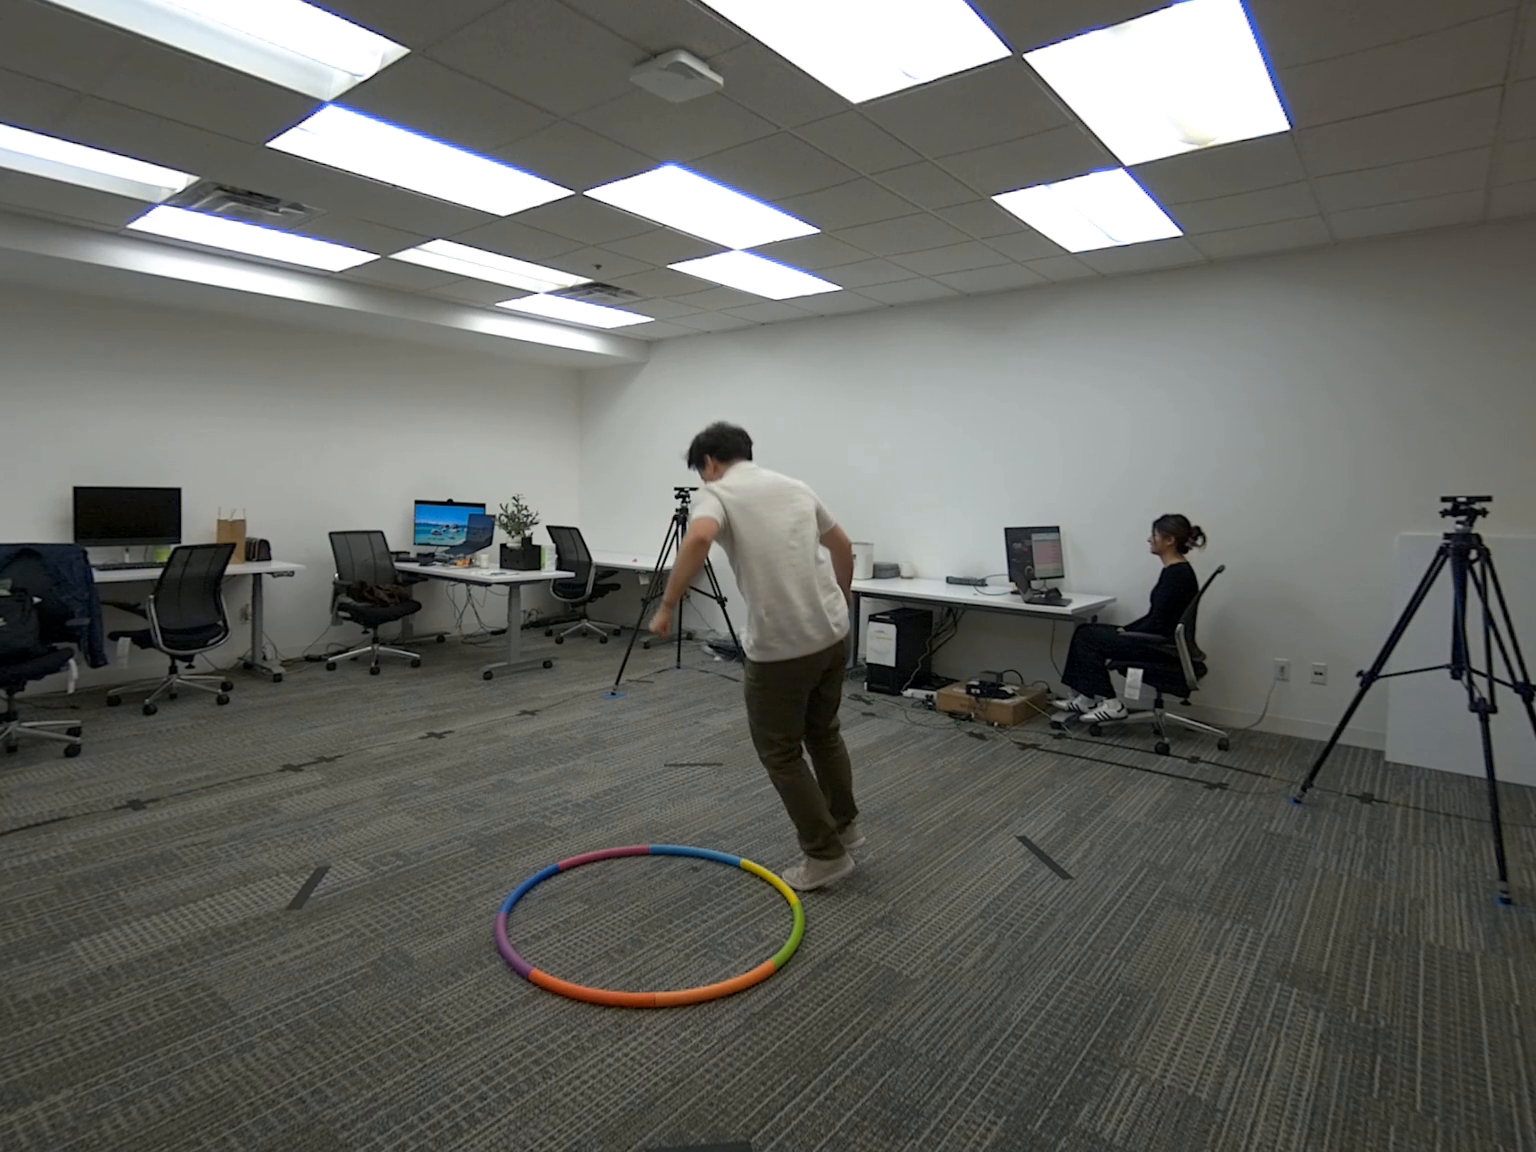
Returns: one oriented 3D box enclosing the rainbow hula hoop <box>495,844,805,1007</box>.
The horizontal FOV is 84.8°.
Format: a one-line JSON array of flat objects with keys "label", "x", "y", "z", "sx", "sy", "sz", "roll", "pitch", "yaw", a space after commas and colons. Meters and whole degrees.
[{"label": "rainbow hula hoop", "x": -0.382, "y": 1.070, "z": 2.753, "sx": 0.978, "sy": 0.035, "sz": 0.984, "roll": 0, "pitch": 5, "yaw": -2}]
